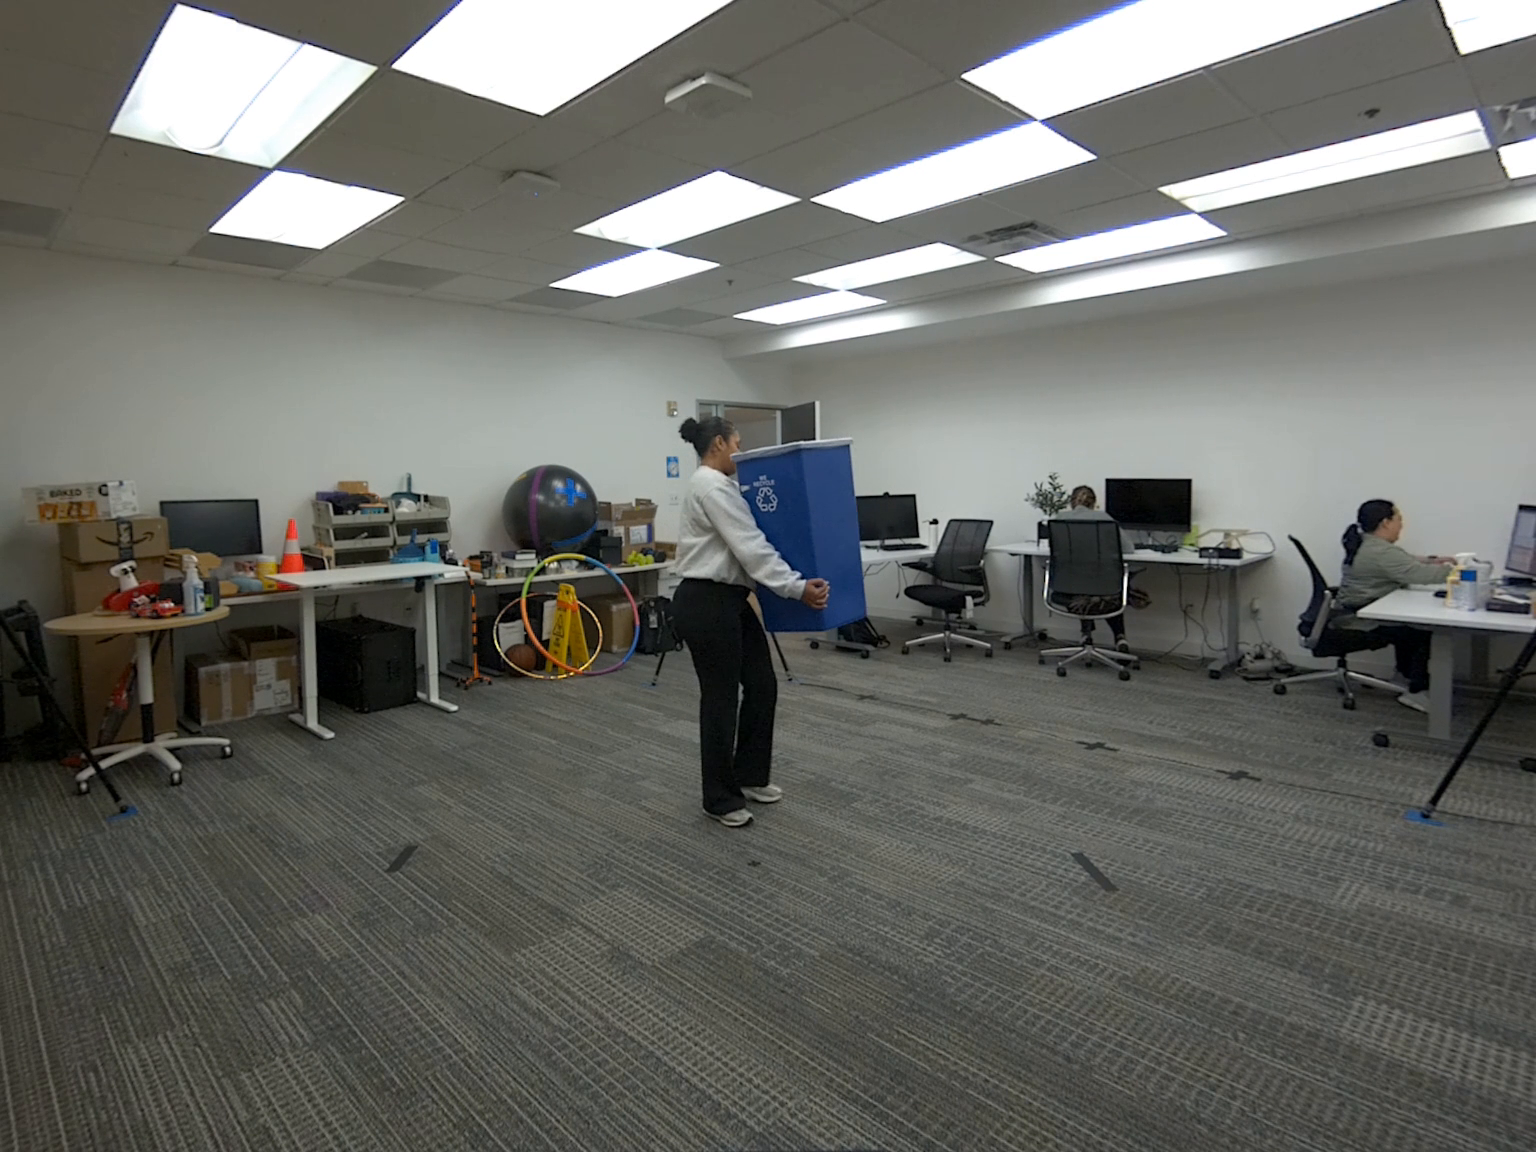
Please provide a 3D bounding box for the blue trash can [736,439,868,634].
[{"bbox_3d":[0.145,-0.160,3.382,0.388,0.712,0.365,-6,3,42],"label":"blue trash can"}]
